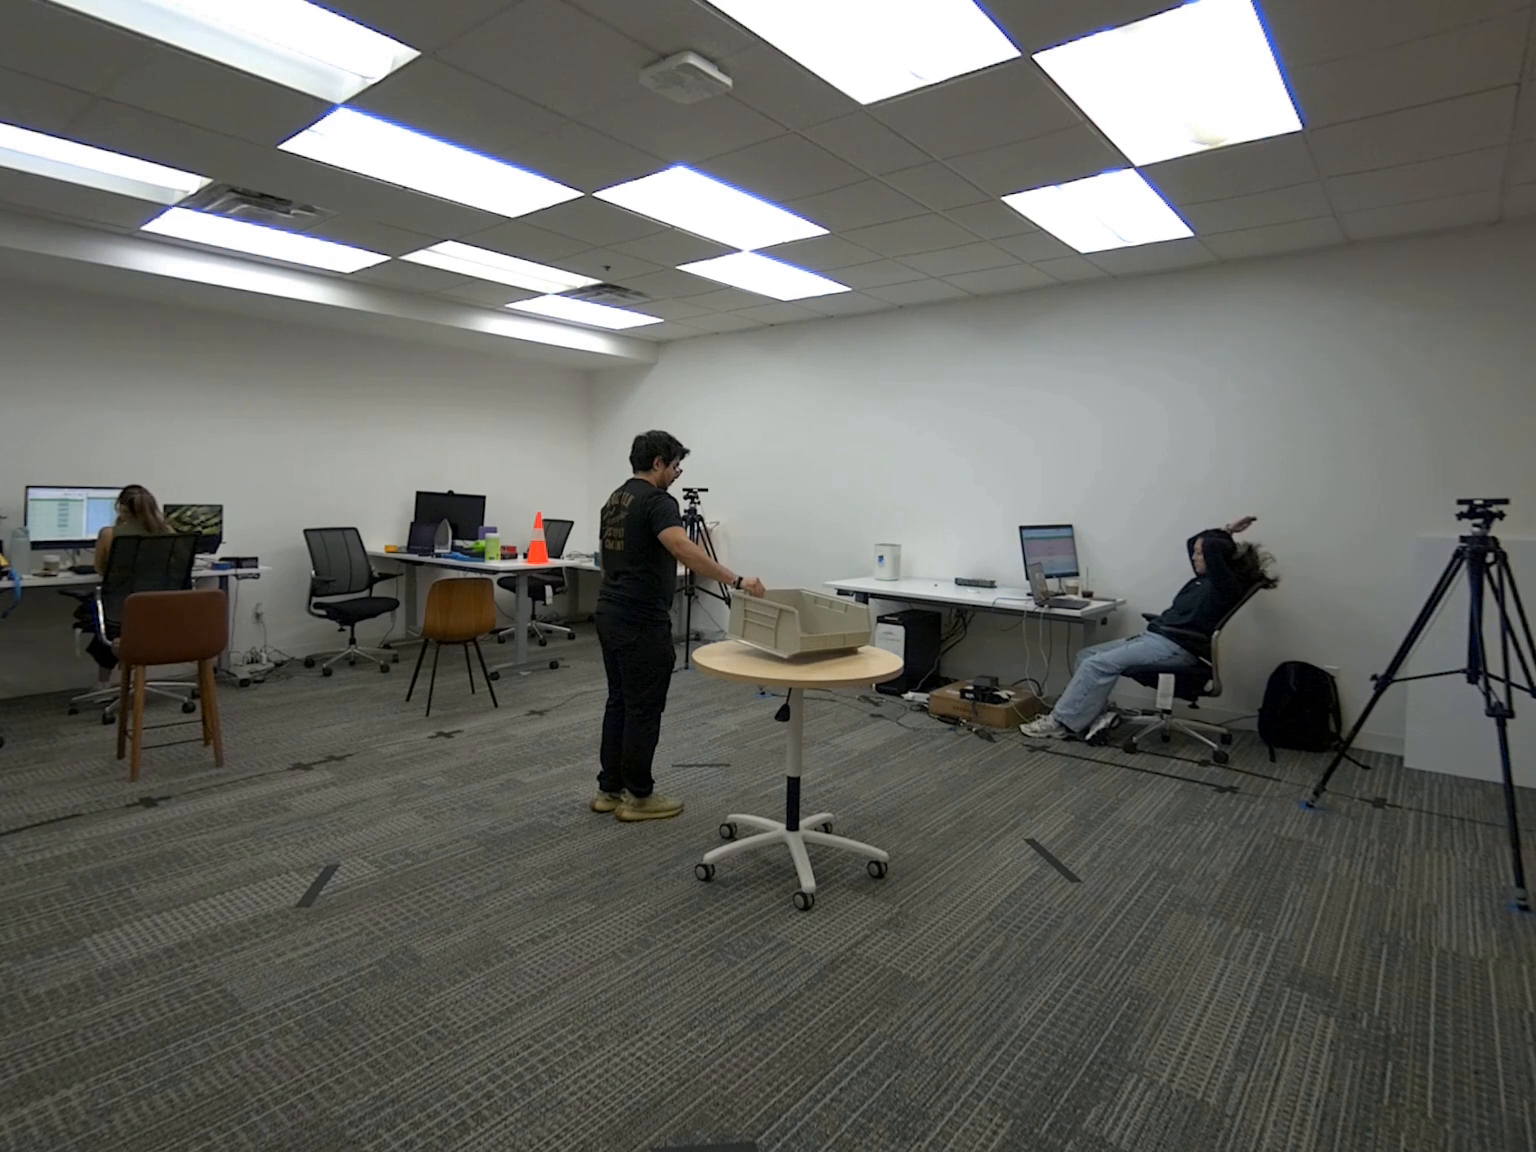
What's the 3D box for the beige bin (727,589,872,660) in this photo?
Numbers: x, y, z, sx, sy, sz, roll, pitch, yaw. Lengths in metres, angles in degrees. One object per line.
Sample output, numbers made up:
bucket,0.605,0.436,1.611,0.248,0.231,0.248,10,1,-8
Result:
beige bin,0.111,0.170,3.184,0.409,0.188,0.391,-2,10,-45
